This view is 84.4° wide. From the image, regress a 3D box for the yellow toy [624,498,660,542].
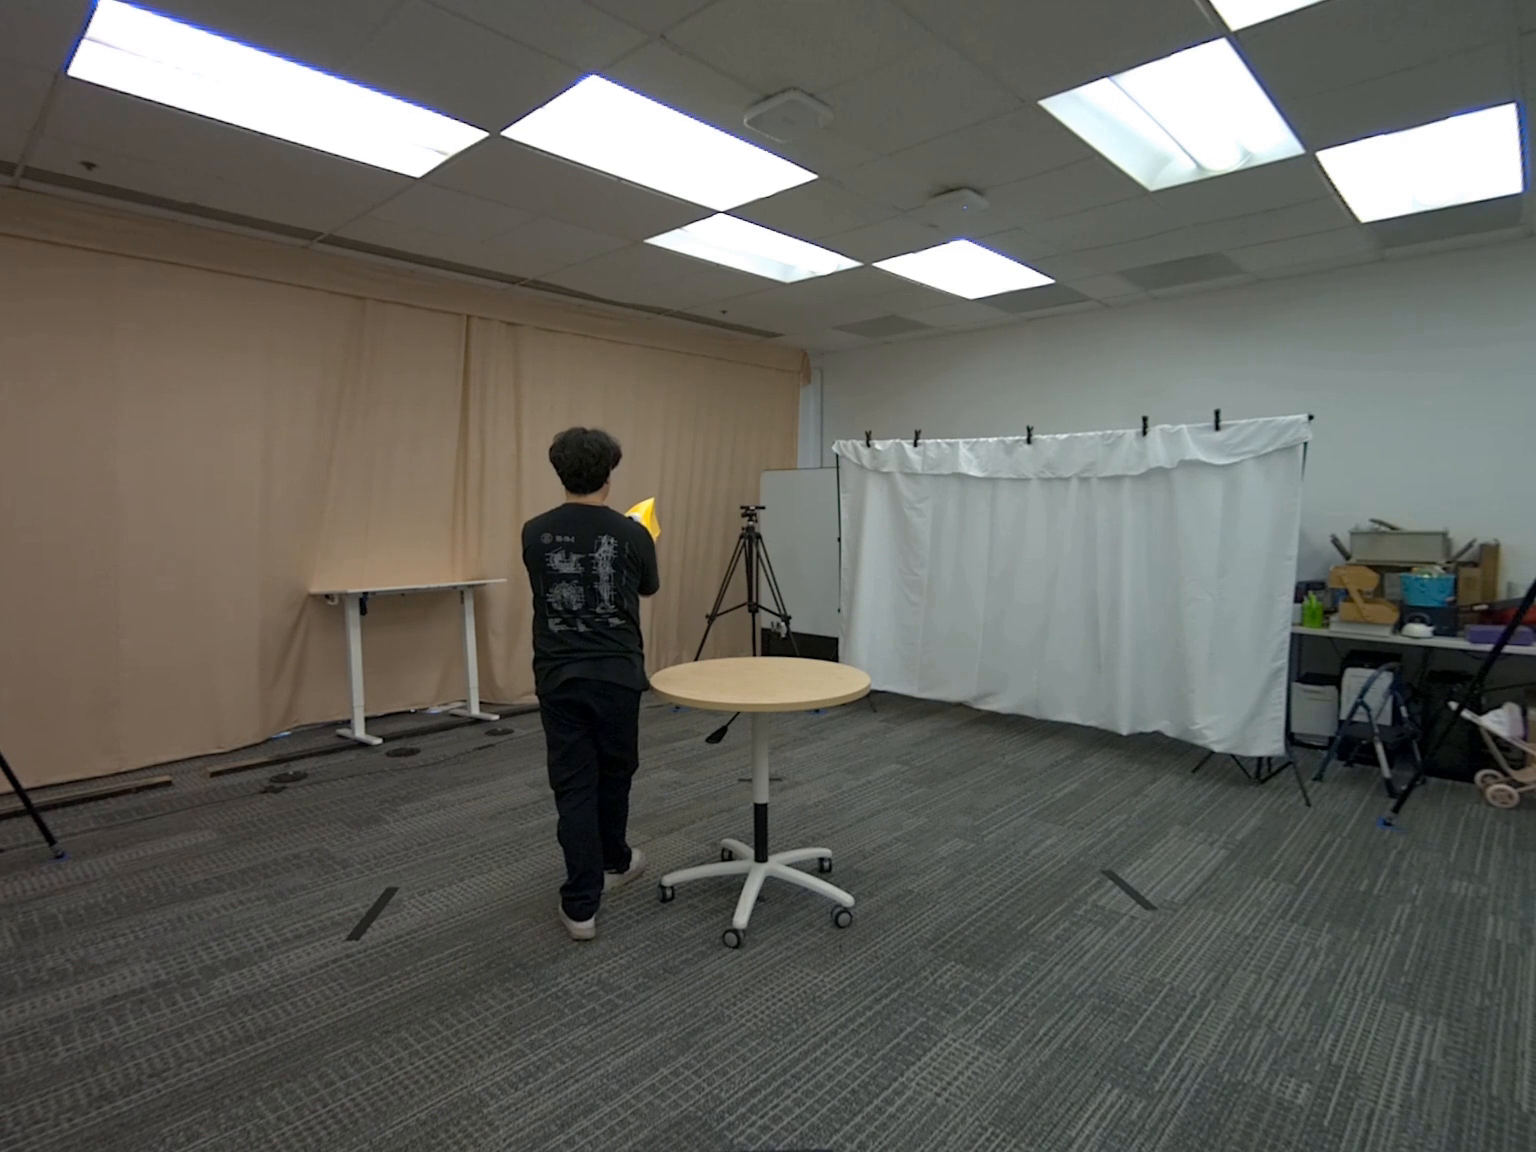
[{"bbox_3d":[-0.534,-0.212,3.398,0.194,0.229,0.205,10,12,2],"label":"yellow toy"}]
